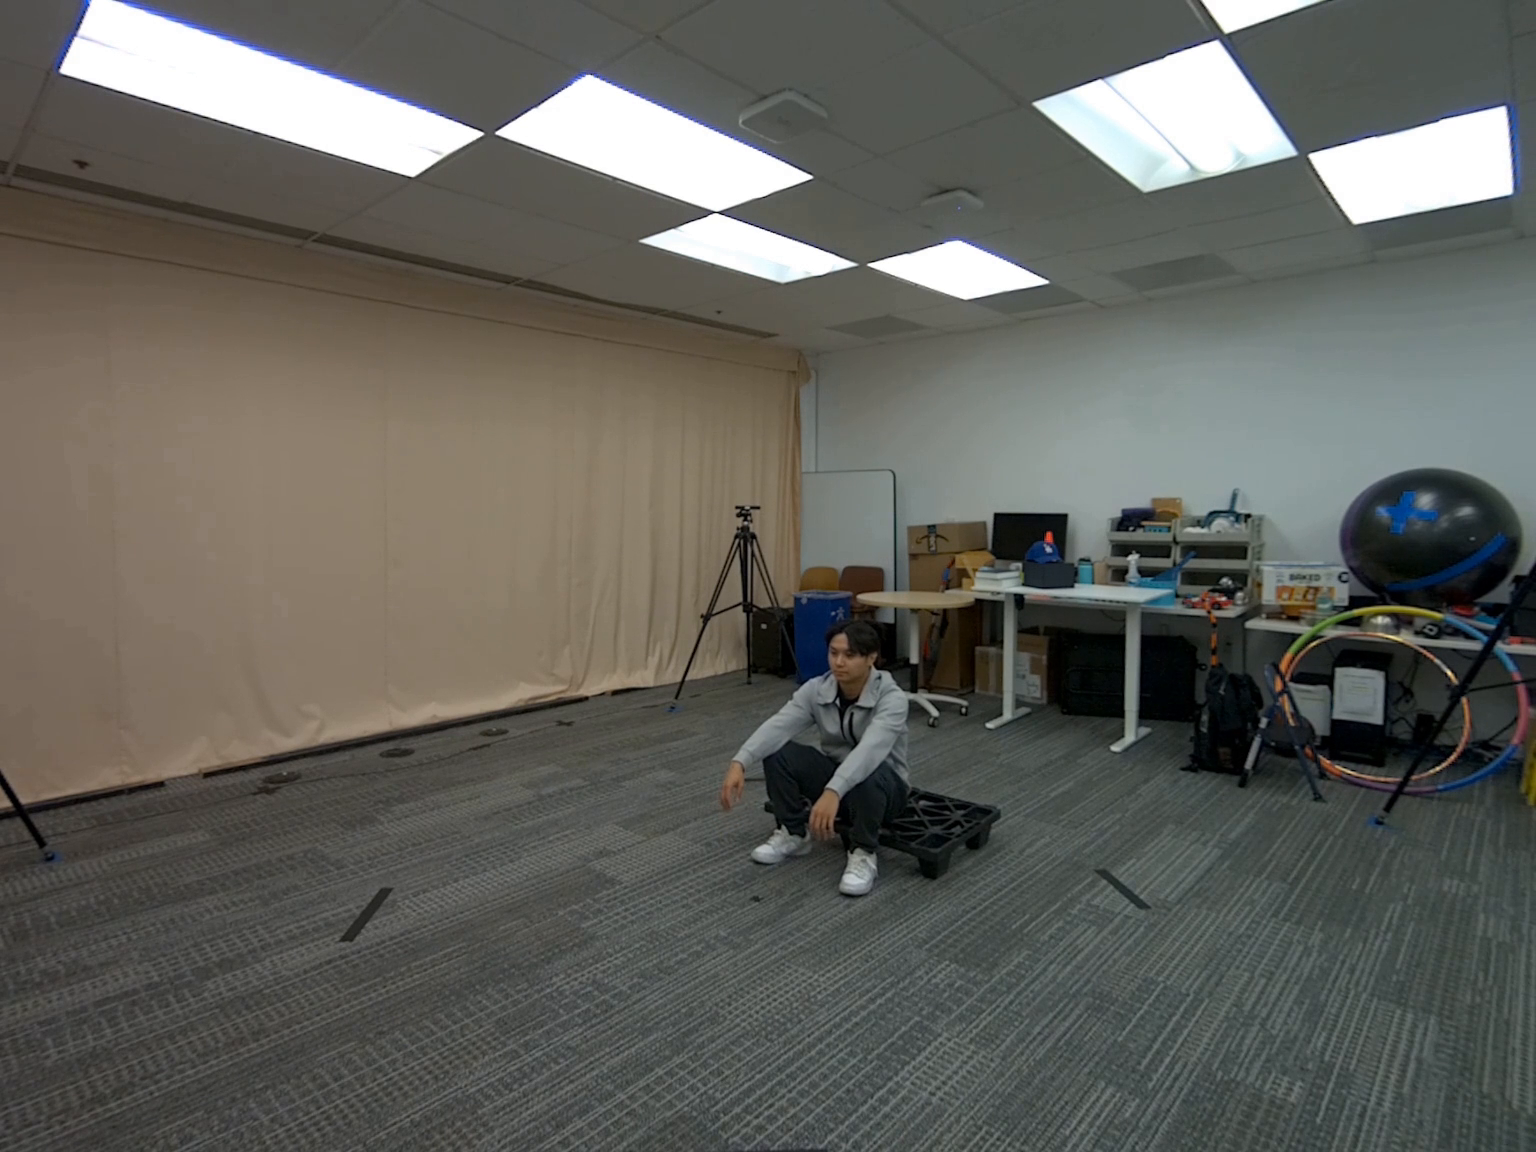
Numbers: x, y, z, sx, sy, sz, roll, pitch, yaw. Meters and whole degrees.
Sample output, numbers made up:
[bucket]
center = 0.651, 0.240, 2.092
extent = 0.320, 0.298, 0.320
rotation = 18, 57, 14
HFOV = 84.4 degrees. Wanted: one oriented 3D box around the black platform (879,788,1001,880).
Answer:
[black platform]
center = 0.474, 1.029, 3.532
extent = 0.832, 0.143, 0.587
rotation = 4, 6, 39
